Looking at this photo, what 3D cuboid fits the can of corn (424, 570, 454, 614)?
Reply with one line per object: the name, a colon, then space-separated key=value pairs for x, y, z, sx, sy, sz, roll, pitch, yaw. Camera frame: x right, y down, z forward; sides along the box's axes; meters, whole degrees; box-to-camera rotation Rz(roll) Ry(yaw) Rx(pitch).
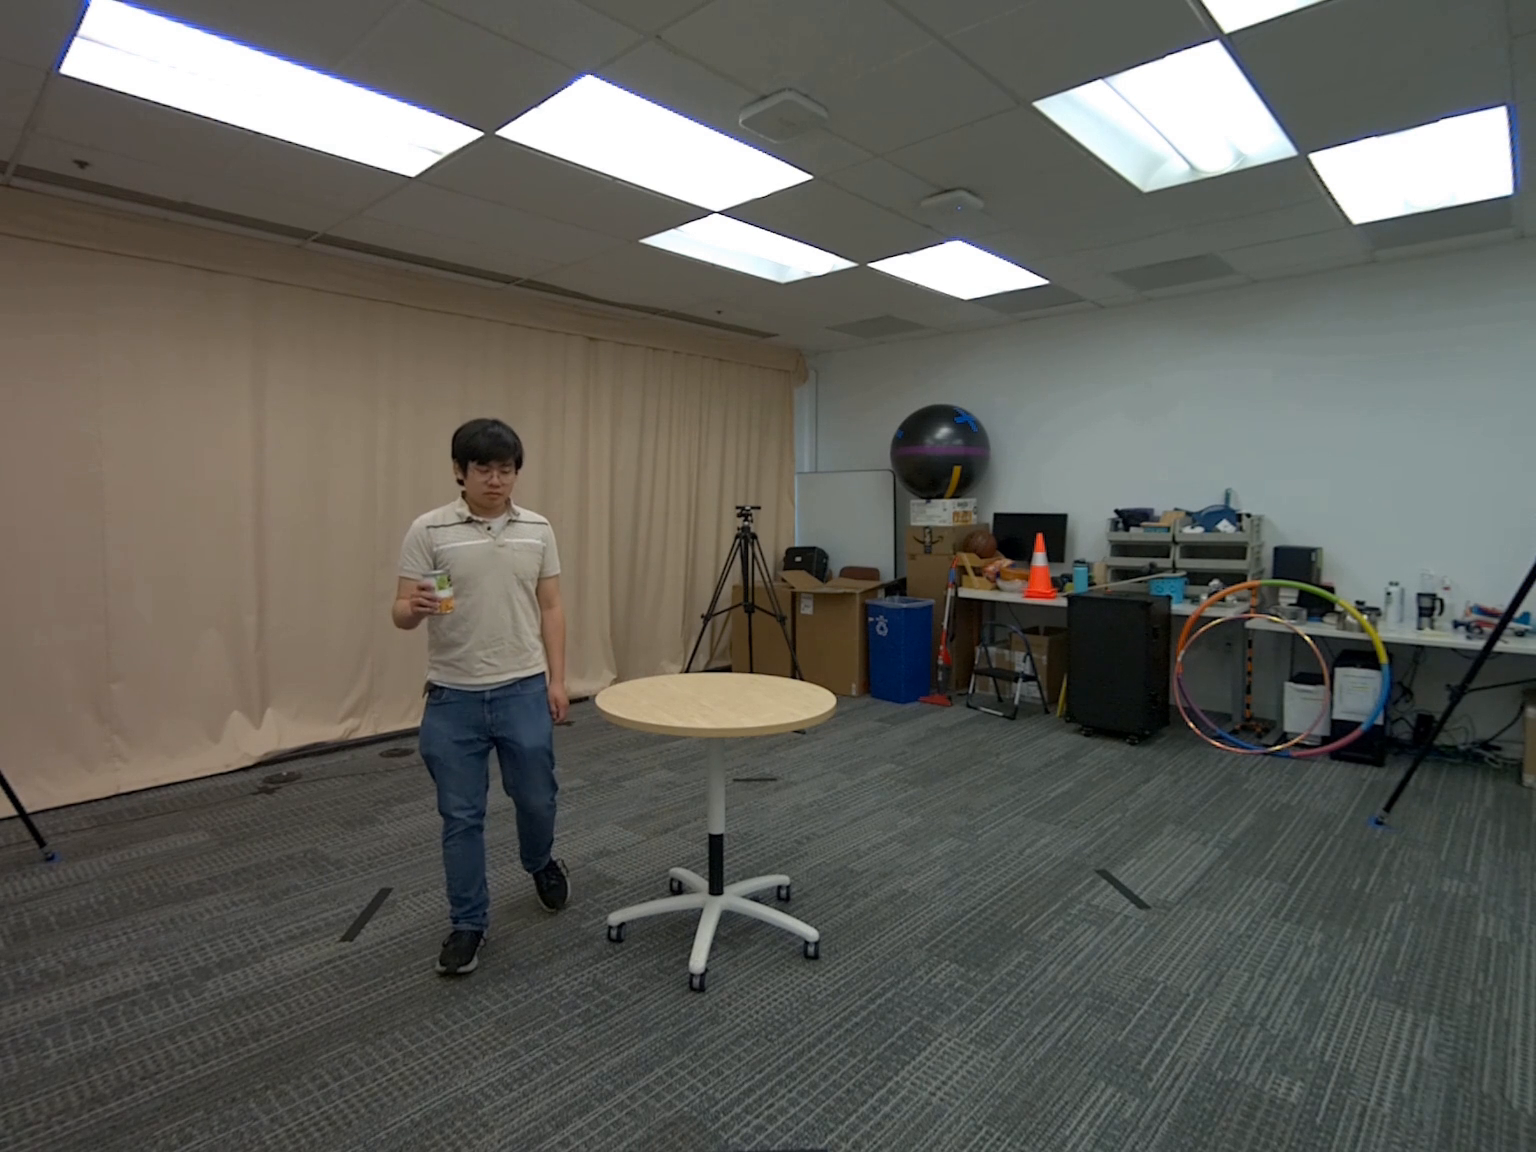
can of corn: x=-0.907 y=0.044 z=2.299 sx=0.074 sy=0.110 sz=0.074 roll=-4 pitch=7 yaw=-1
